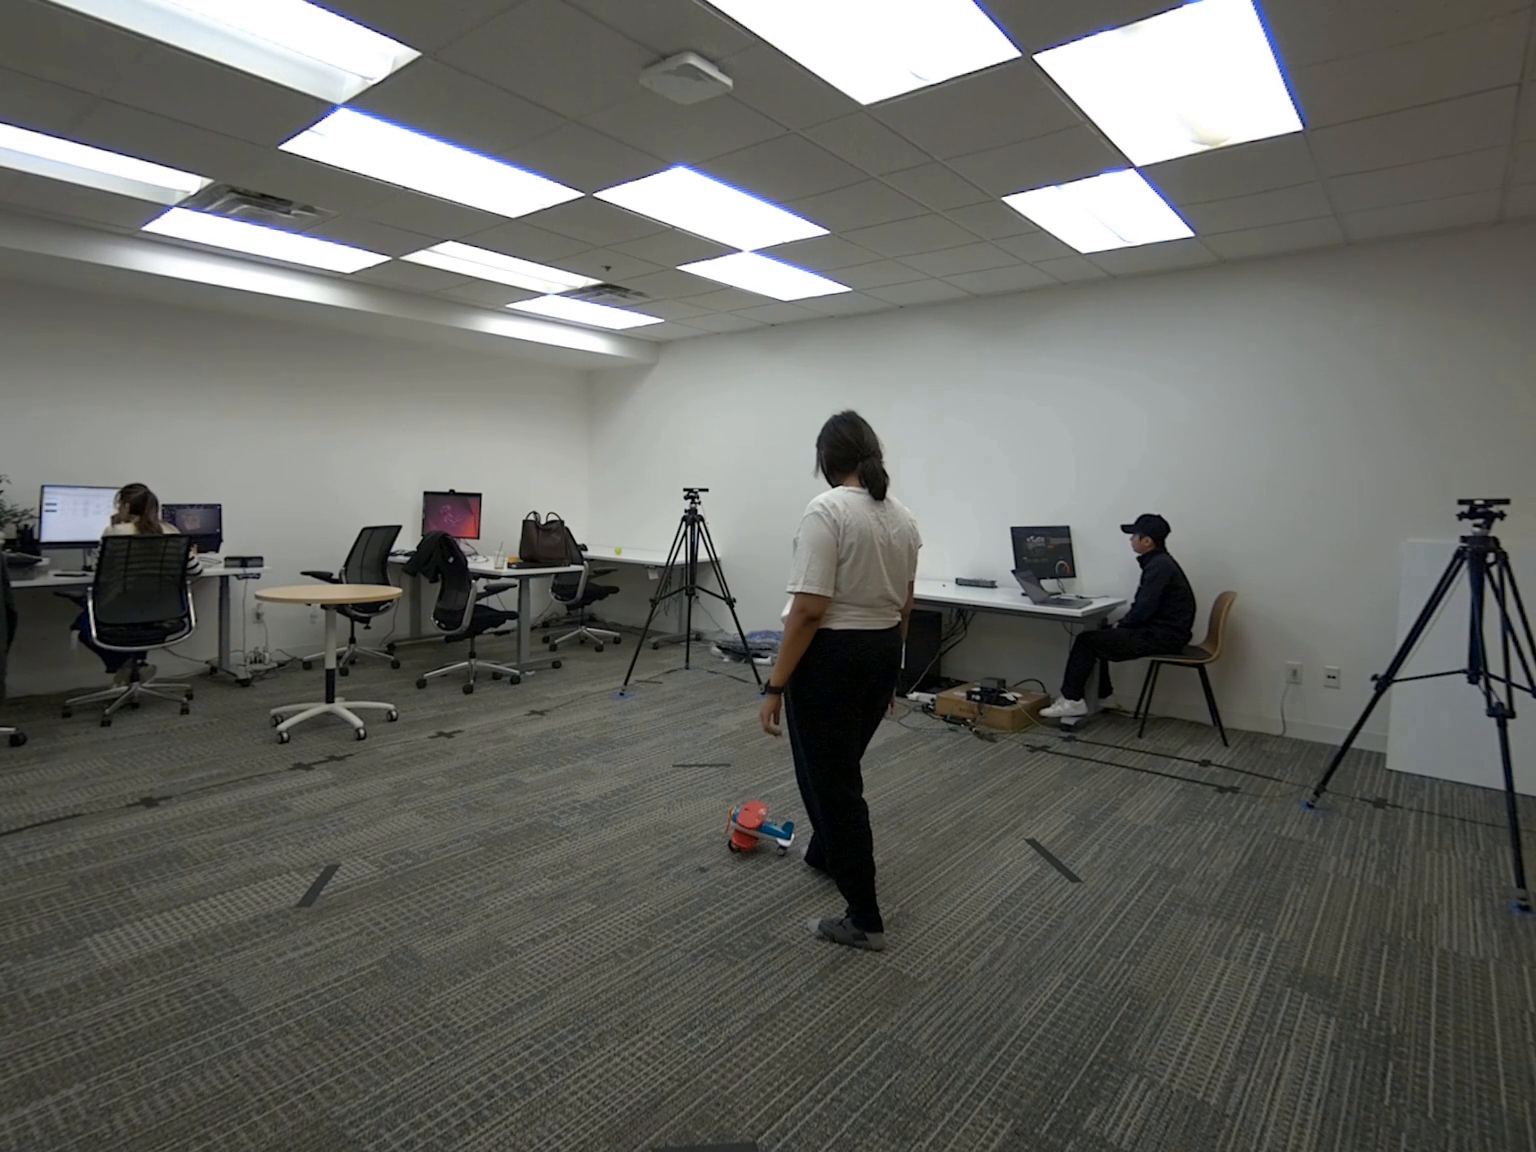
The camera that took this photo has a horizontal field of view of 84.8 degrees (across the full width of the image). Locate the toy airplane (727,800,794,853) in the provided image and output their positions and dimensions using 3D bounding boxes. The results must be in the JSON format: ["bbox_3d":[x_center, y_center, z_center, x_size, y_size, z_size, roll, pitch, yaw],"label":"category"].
[{"bbox_3d":[-0.038,0.976,3.304,0.256,0.156,0.255,-1,5,-13],"label":"toy airplane"}]
